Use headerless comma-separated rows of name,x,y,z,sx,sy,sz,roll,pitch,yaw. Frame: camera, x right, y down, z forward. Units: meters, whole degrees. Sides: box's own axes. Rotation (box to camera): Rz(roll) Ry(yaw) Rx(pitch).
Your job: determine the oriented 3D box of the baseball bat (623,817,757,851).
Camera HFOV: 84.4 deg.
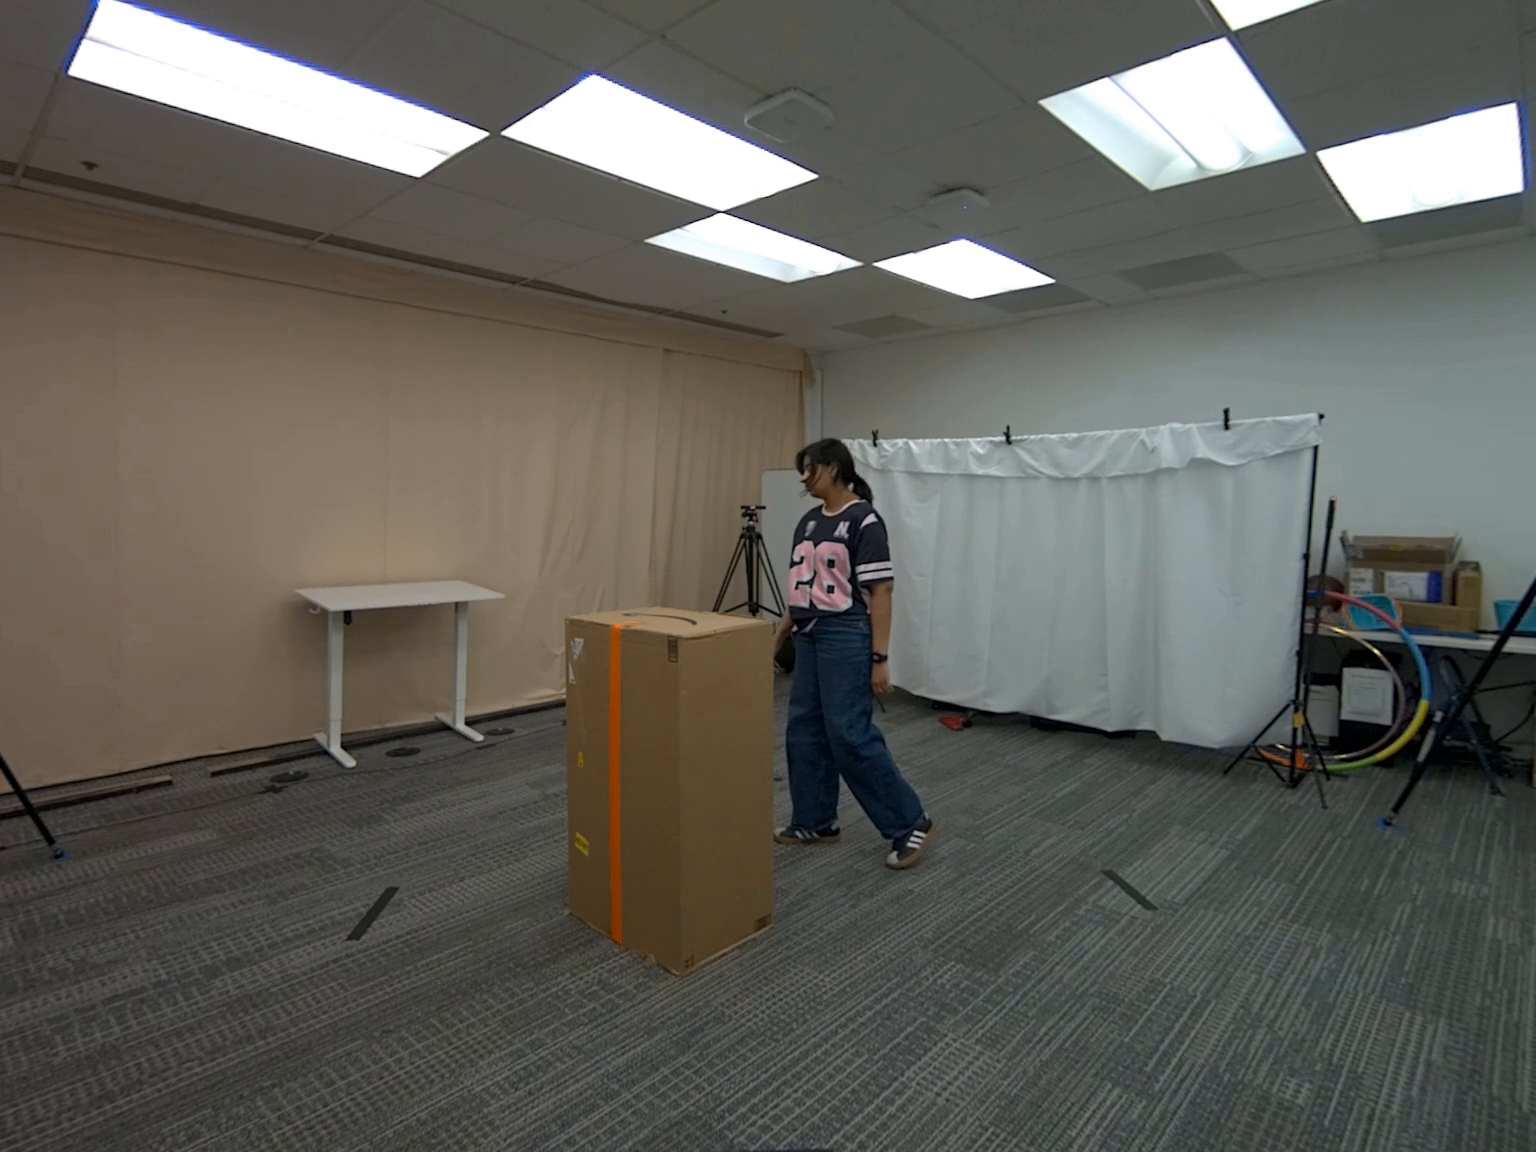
baseball bat,-0.326,1.067,3.514,0.538,0.089,0.090,1,3,-8
